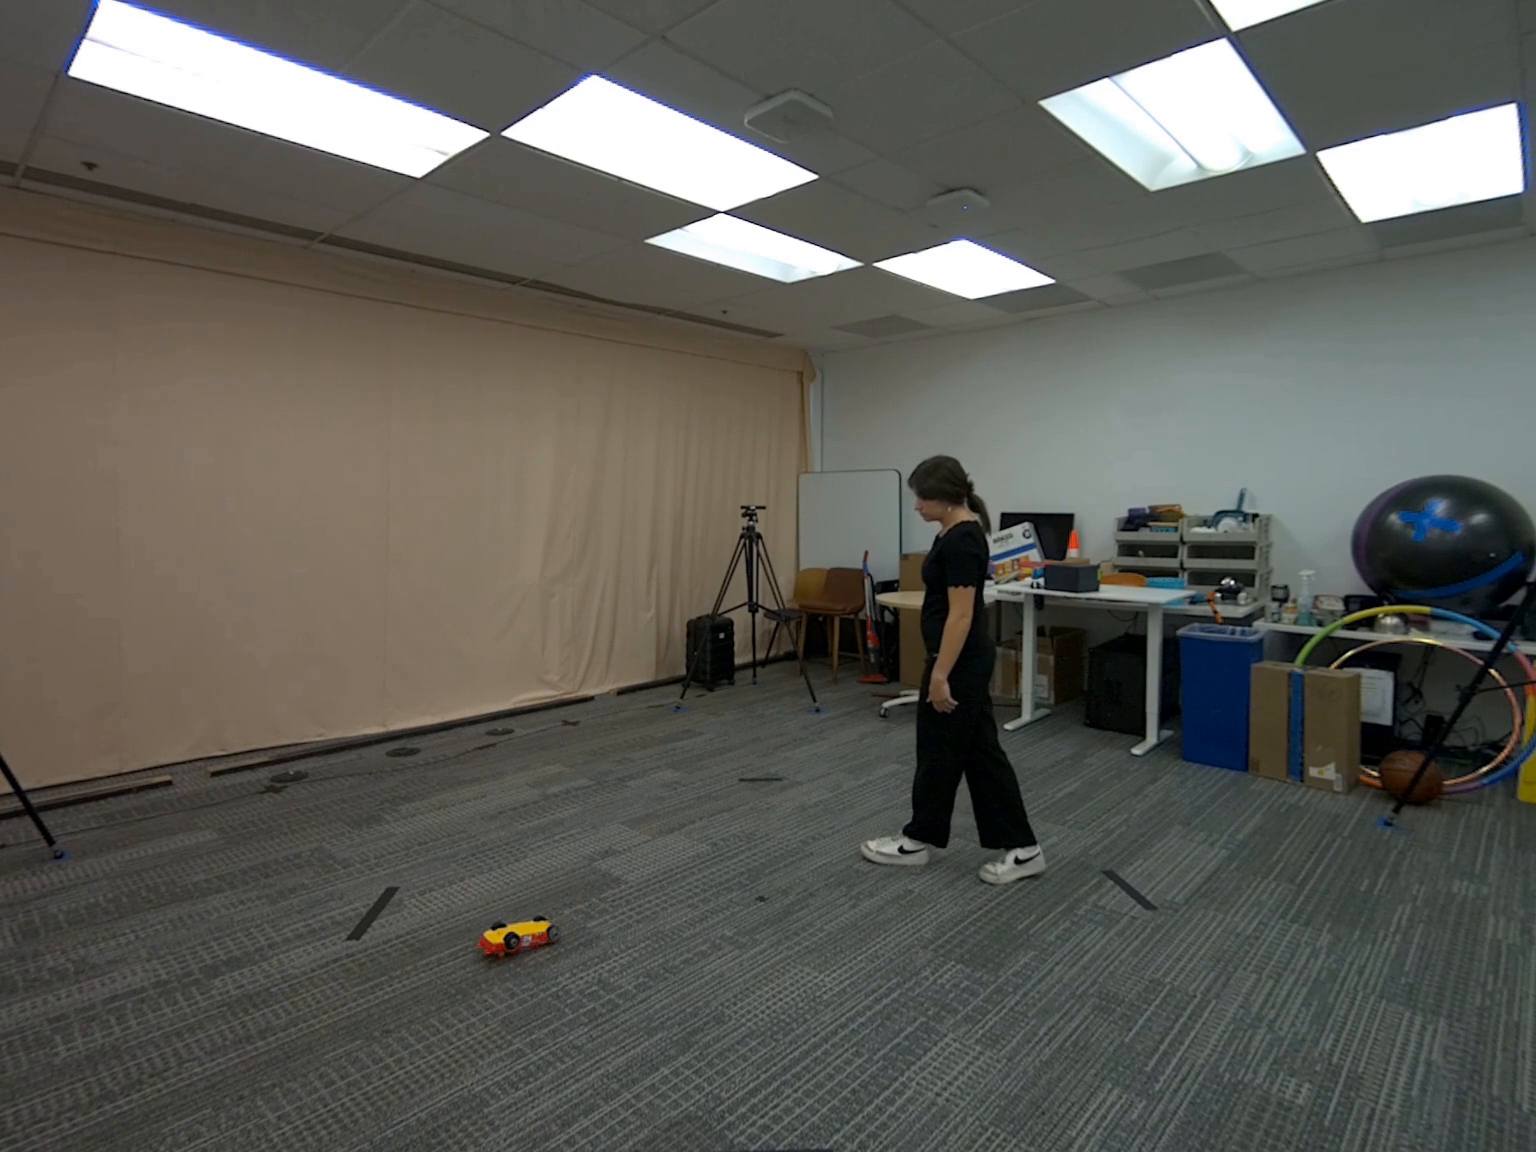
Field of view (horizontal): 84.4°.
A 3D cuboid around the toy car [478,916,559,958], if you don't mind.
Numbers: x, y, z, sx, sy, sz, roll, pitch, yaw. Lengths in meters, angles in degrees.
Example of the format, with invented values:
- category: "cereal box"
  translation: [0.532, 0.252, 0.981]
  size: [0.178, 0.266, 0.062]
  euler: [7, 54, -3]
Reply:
- category: "toy car"
  translation: [-0.786, 1.138, 2.652]
  size: [0.247, 0.083, 0.135]
  euler: [-5, 7, -42]
